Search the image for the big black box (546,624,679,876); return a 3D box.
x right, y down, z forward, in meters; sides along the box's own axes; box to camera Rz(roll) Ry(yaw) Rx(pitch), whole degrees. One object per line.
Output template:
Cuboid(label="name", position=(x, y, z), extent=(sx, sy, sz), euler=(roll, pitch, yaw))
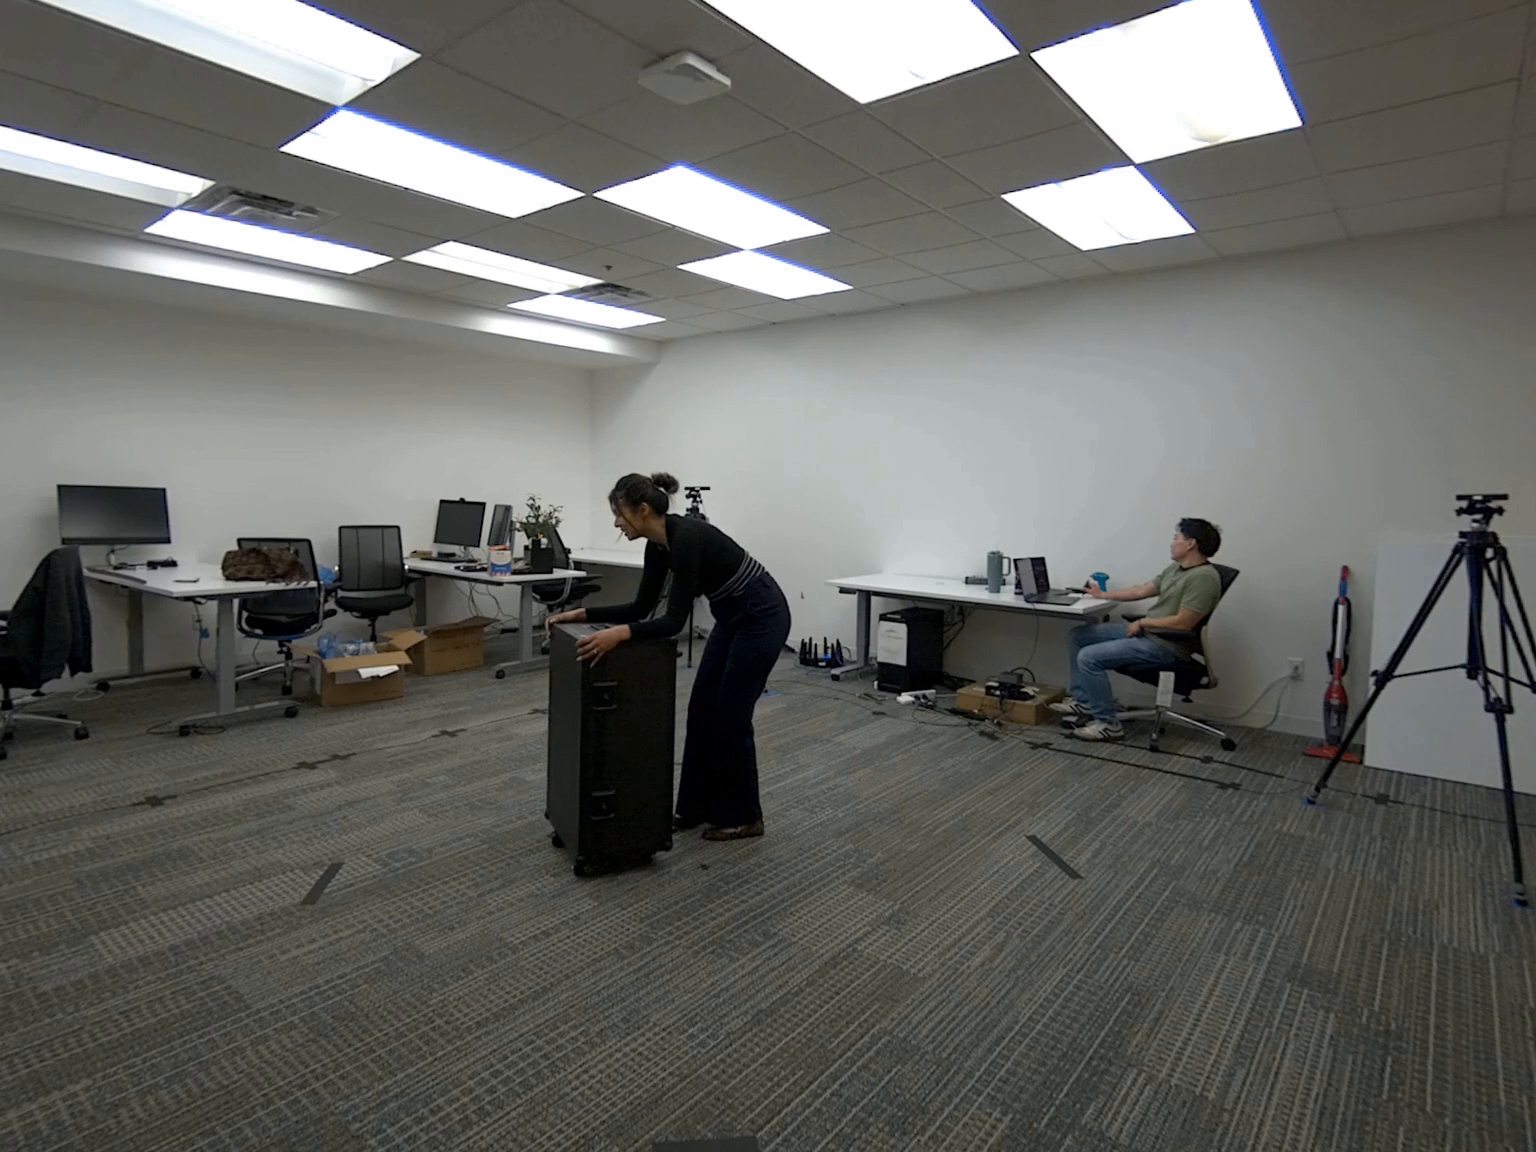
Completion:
Cuboid(label="big black box", position=(-0.614, 0.623, 3.234), extent=(0.386, 0.860, 0.536), euler=(1, 2, -27))
